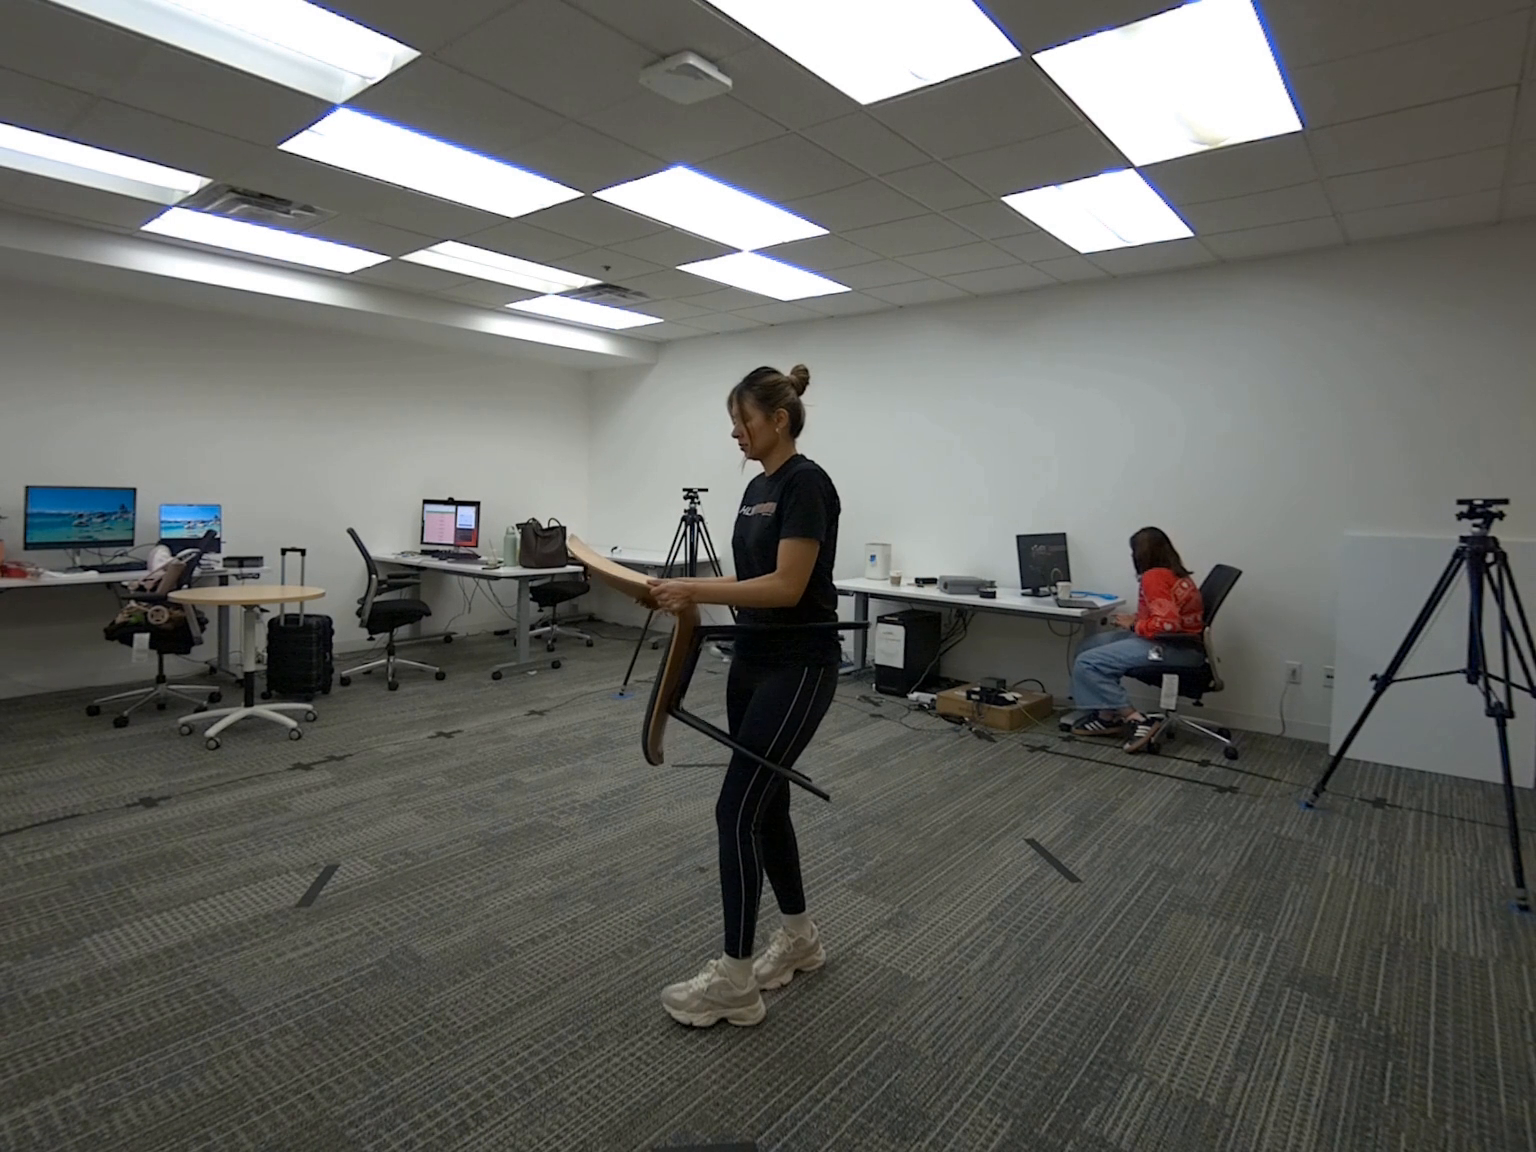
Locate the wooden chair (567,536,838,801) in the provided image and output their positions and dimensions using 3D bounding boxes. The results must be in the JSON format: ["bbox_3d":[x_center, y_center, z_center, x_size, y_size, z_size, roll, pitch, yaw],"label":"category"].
[{"bbox_3d":[-0.235,0.265,2.367,0.880,0.526,0.474,18,-8,1],"label":"wooden chair"}]
